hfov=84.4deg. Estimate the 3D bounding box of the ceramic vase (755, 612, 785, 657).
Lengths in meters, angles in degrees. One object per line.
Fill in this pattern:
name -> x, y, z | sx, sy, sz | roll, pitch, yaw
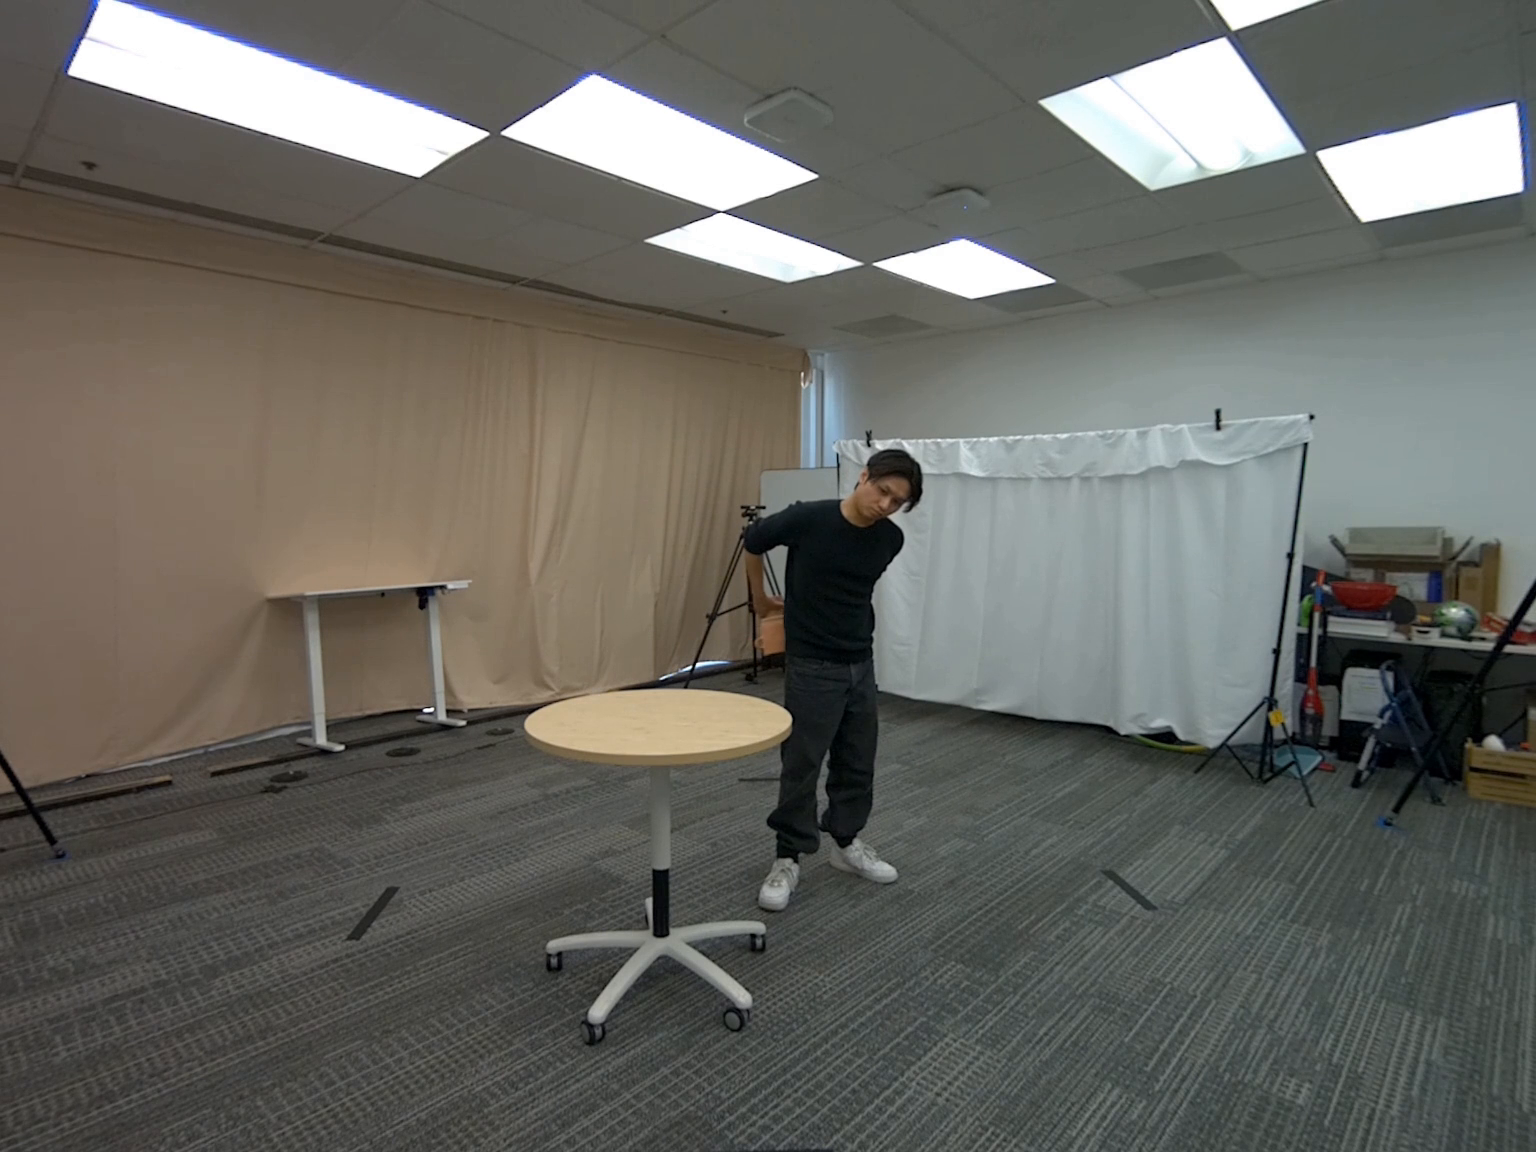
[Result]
ceramic vase -> 0.030, 0.180, 3.284 | 0.138, 0.220, 0.154 | -4, -3, 26
